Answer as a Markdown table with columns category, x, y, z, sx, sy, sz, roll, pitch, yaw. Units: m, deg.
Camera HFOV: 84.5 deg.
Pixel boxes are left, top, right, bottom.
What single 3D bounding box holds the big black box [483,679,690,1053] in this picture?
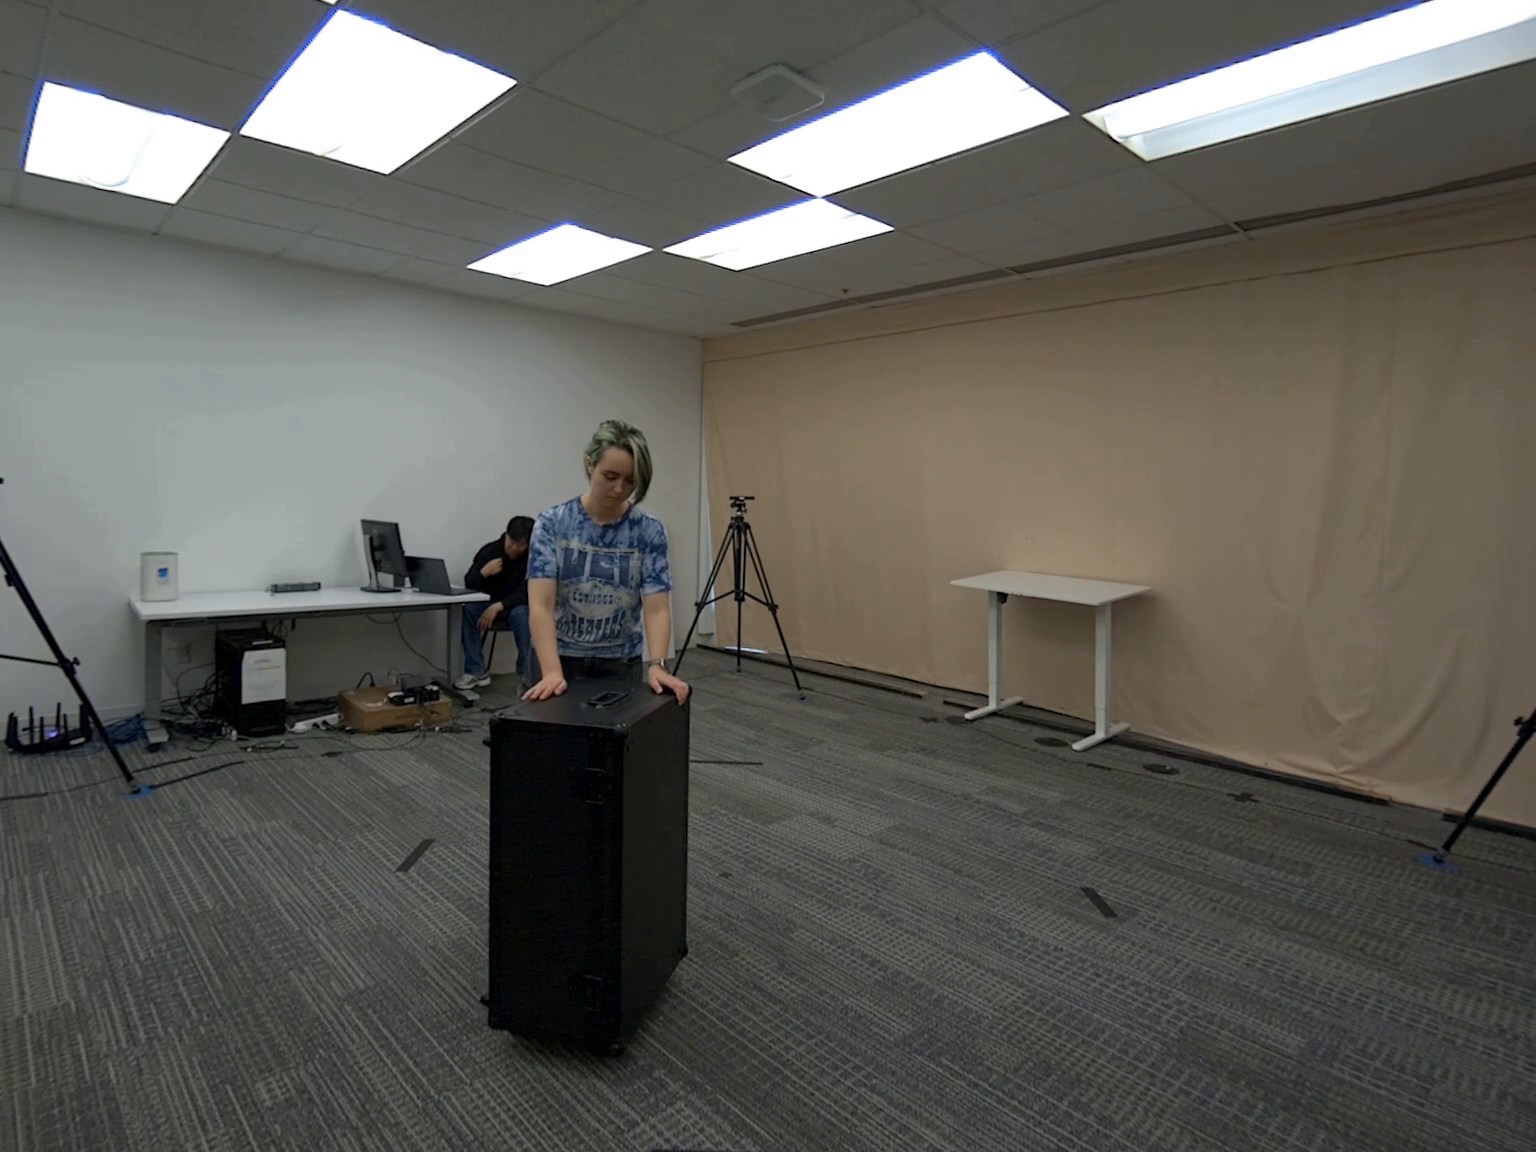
| category | x | y | z | sx | sy | sz | roll | pitch | yaw |
| --- | --- | --- | --- | --- | --- | --- | --- | --- | --- |
| big black box | -0.472 | 0.753 | 2.227 | 0.402 | 0.859 | 0.515 | 2 | 3 | 16 |
